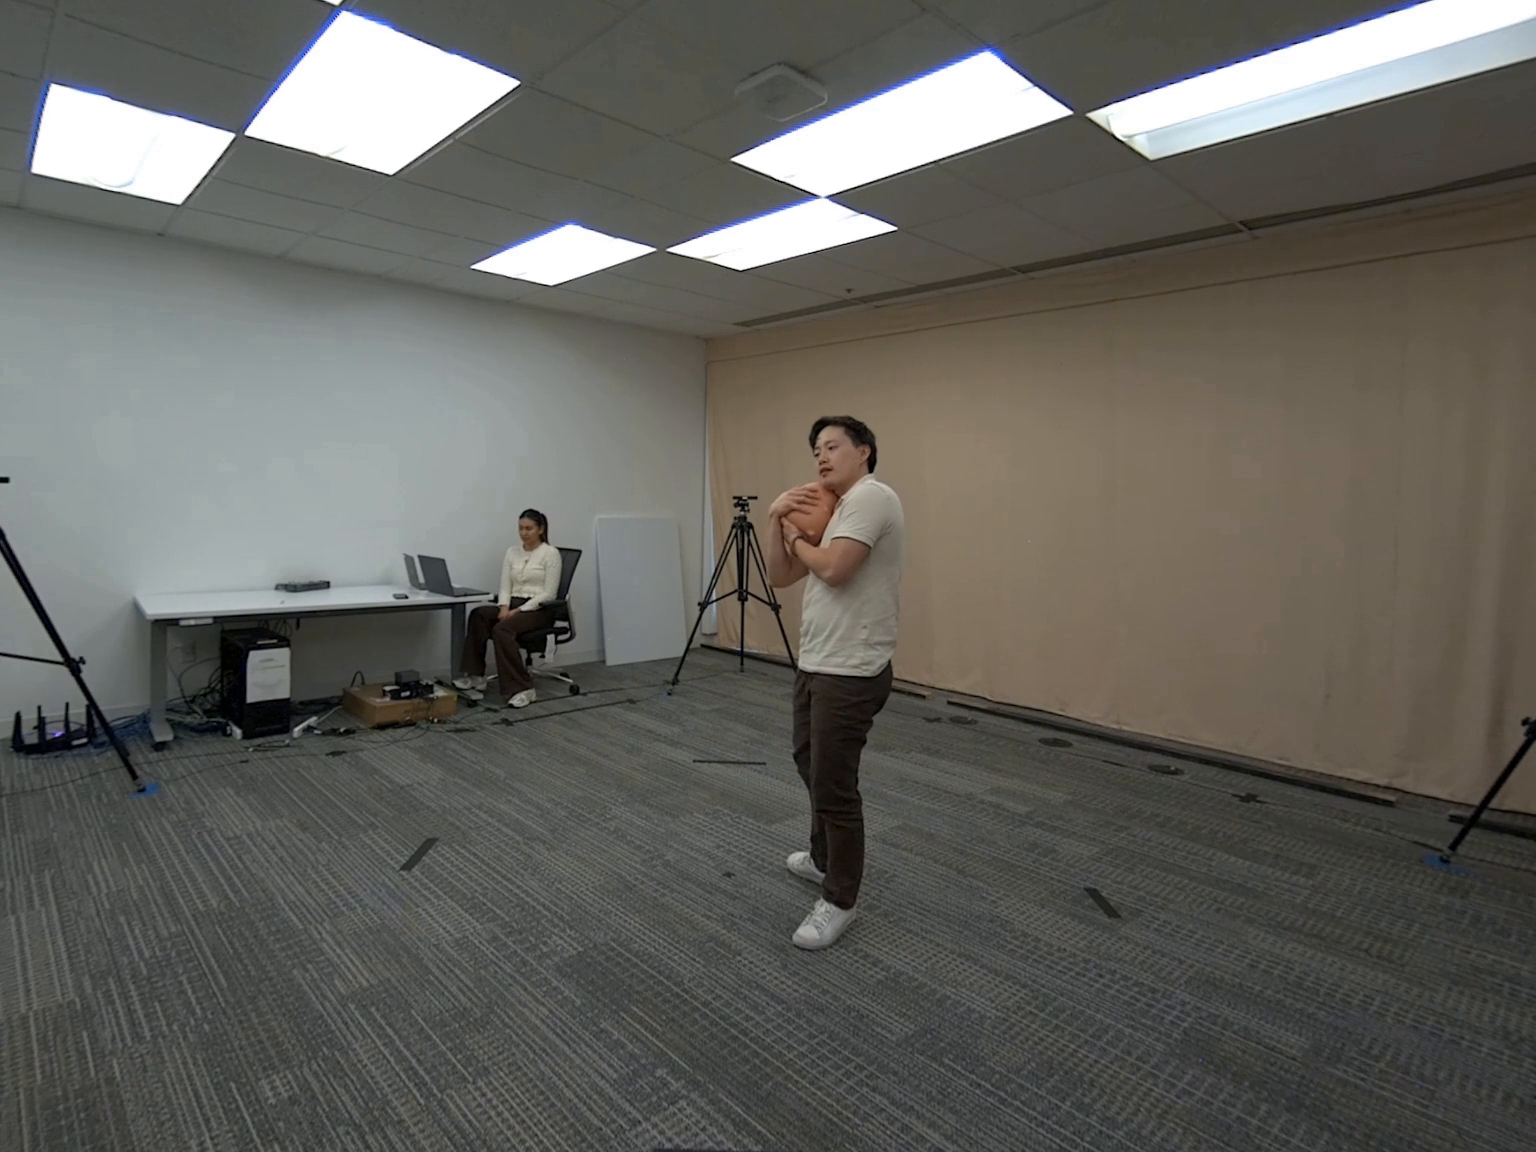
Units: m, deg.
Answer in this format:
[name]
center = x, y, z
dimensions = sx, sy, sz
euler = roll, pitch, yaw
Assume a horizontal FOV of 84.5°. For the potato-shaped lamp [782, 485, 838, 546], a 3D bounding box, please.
[potato-shaped lamp]
center = 0.149, -0.212, 2.781
dimensions = 0.198, 0.167, 0.169
euler = -44, 28, -14
